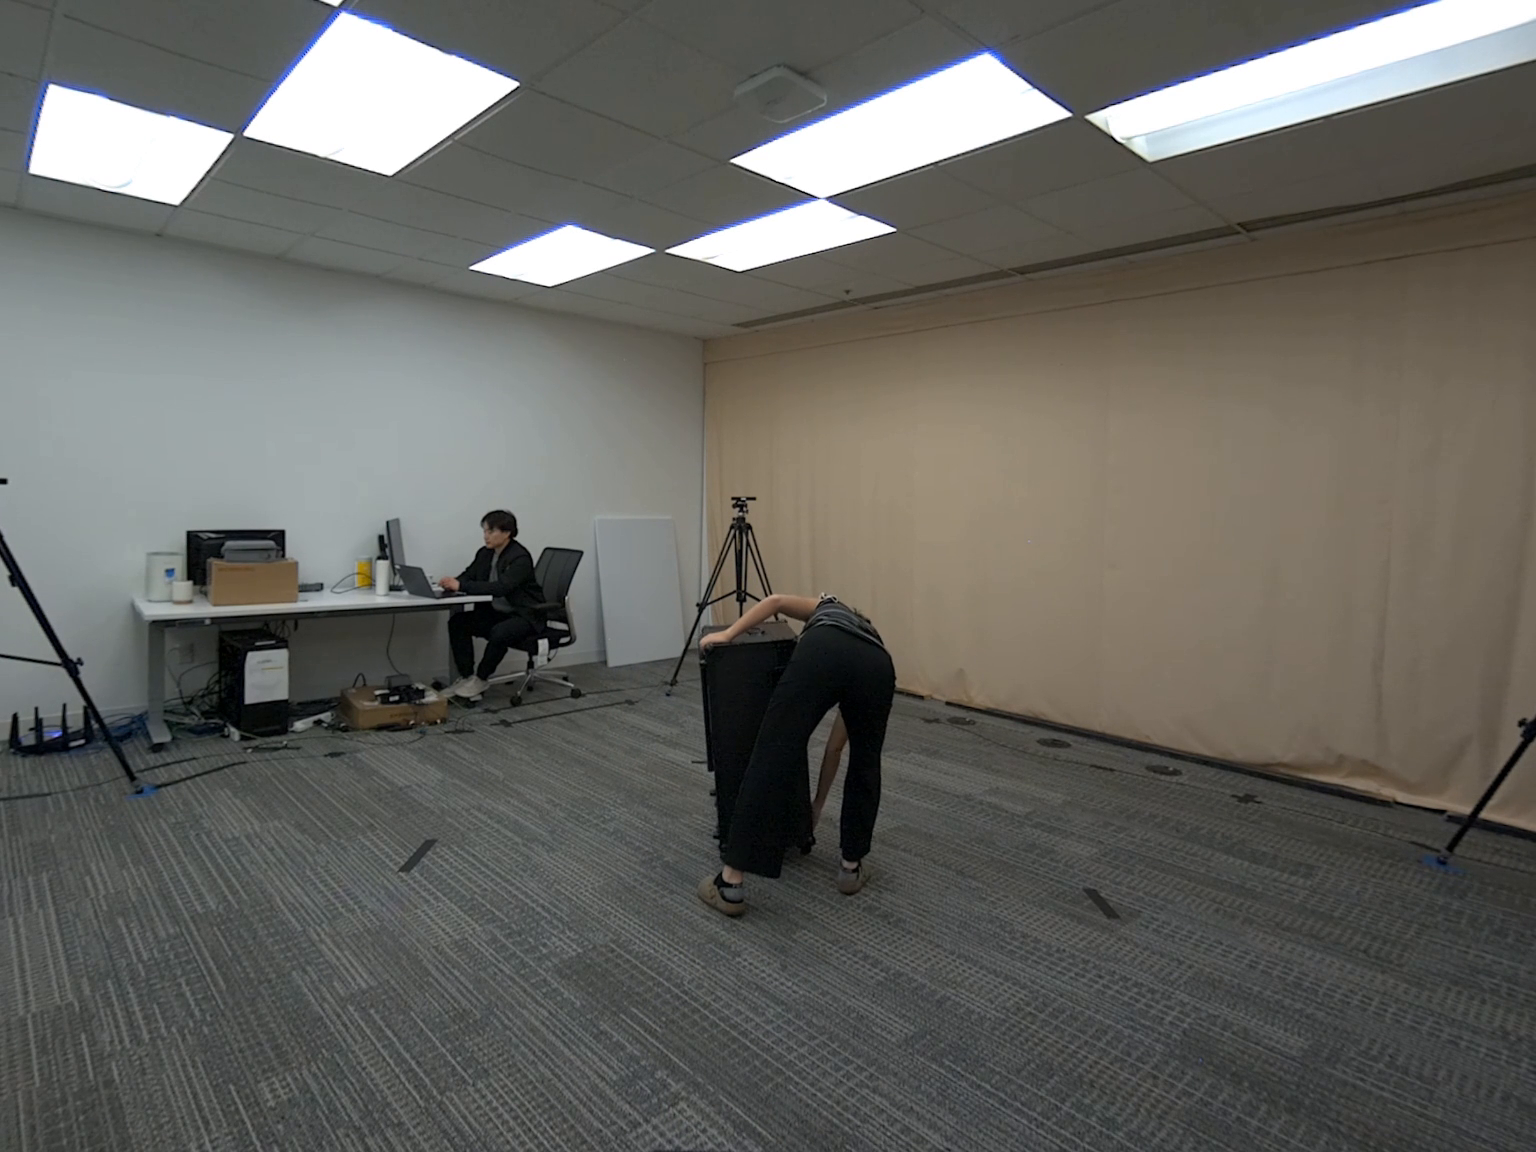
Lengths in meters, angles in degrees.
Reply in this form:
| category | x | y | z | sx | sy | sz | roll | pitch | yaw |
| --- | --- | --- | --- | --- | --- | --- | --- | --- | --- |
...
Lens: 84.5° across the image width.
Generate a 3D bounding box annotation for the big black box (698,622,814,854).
| category | x | y | z | sx | sy | sz | roll | pitch | yaw |
| --- | --- | --- | --- | --- | --- | --- | --- | --- | --- |
| big black box | -0.061 | 0.644 | 3.356 | 0.395 | 0.859 | 0.524 | -4 | 4 | -3 |
